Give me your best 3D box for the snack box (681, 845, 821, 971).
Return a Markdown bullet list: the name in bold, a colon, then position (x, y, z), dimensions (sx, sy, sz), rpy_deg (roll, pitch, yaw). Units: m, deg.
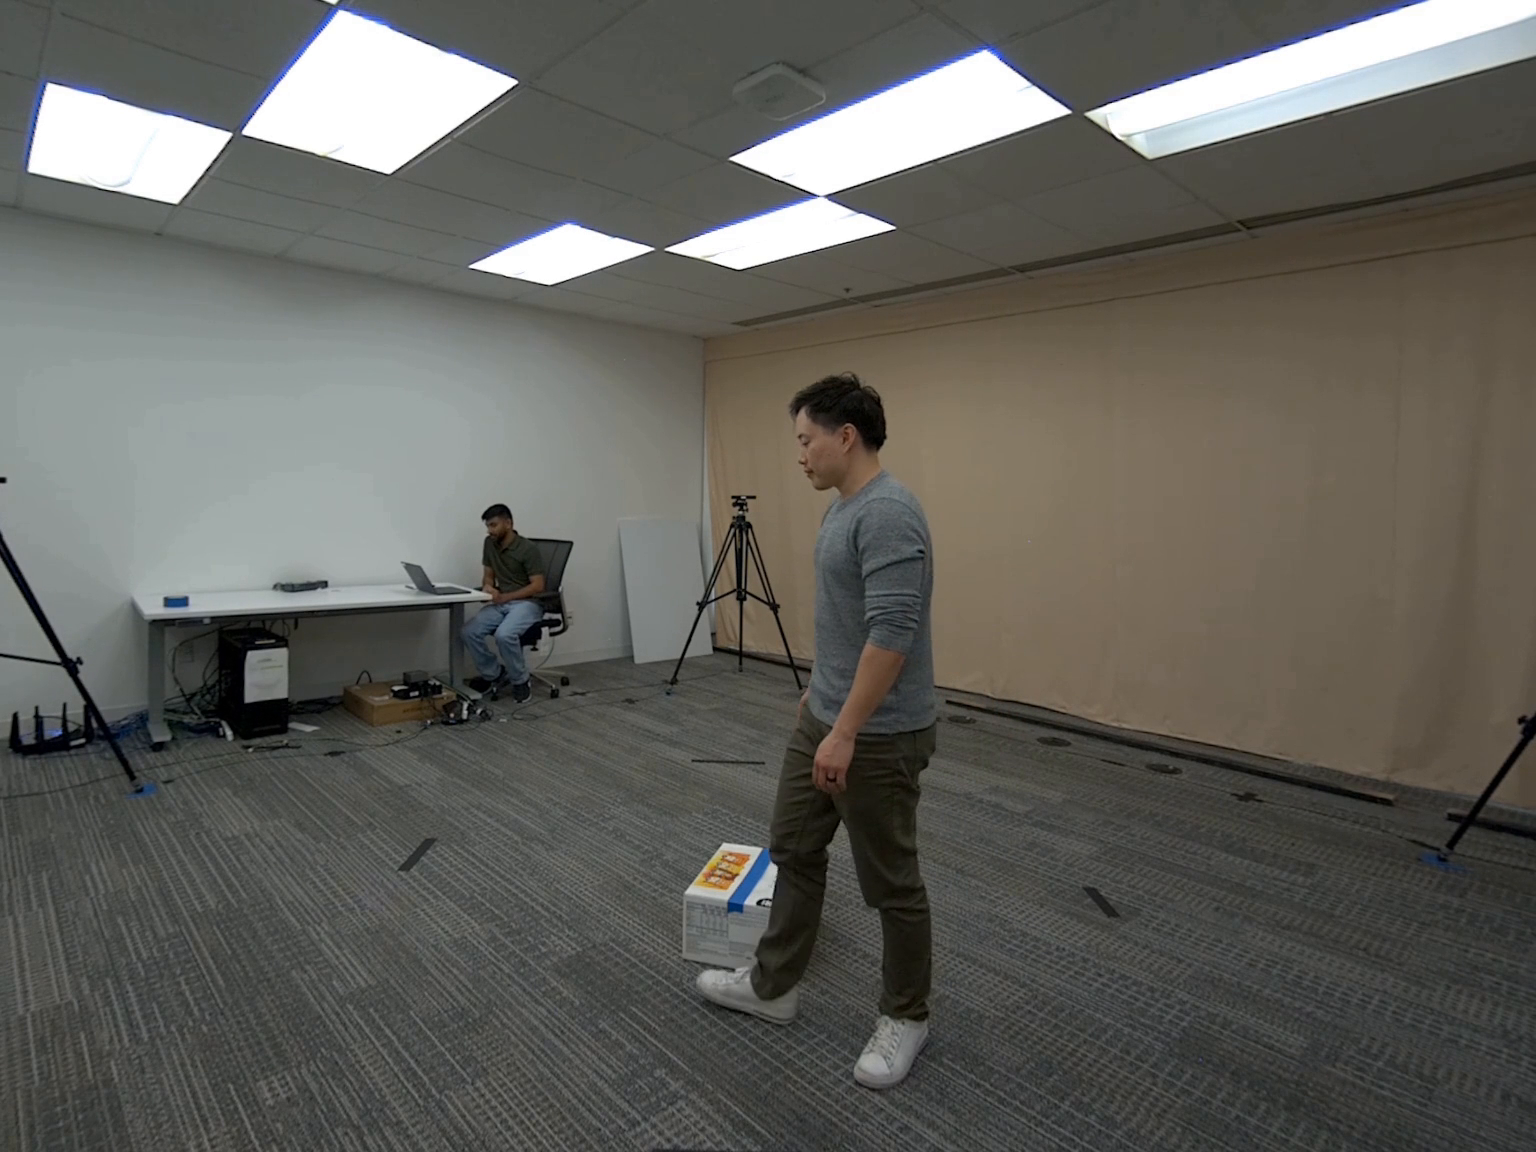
- **snack box**: position (-0.042, 1.048, 2.653), dimensions (0.345, 0.205, 0.401), rpy_deg (2, 5, 16)
